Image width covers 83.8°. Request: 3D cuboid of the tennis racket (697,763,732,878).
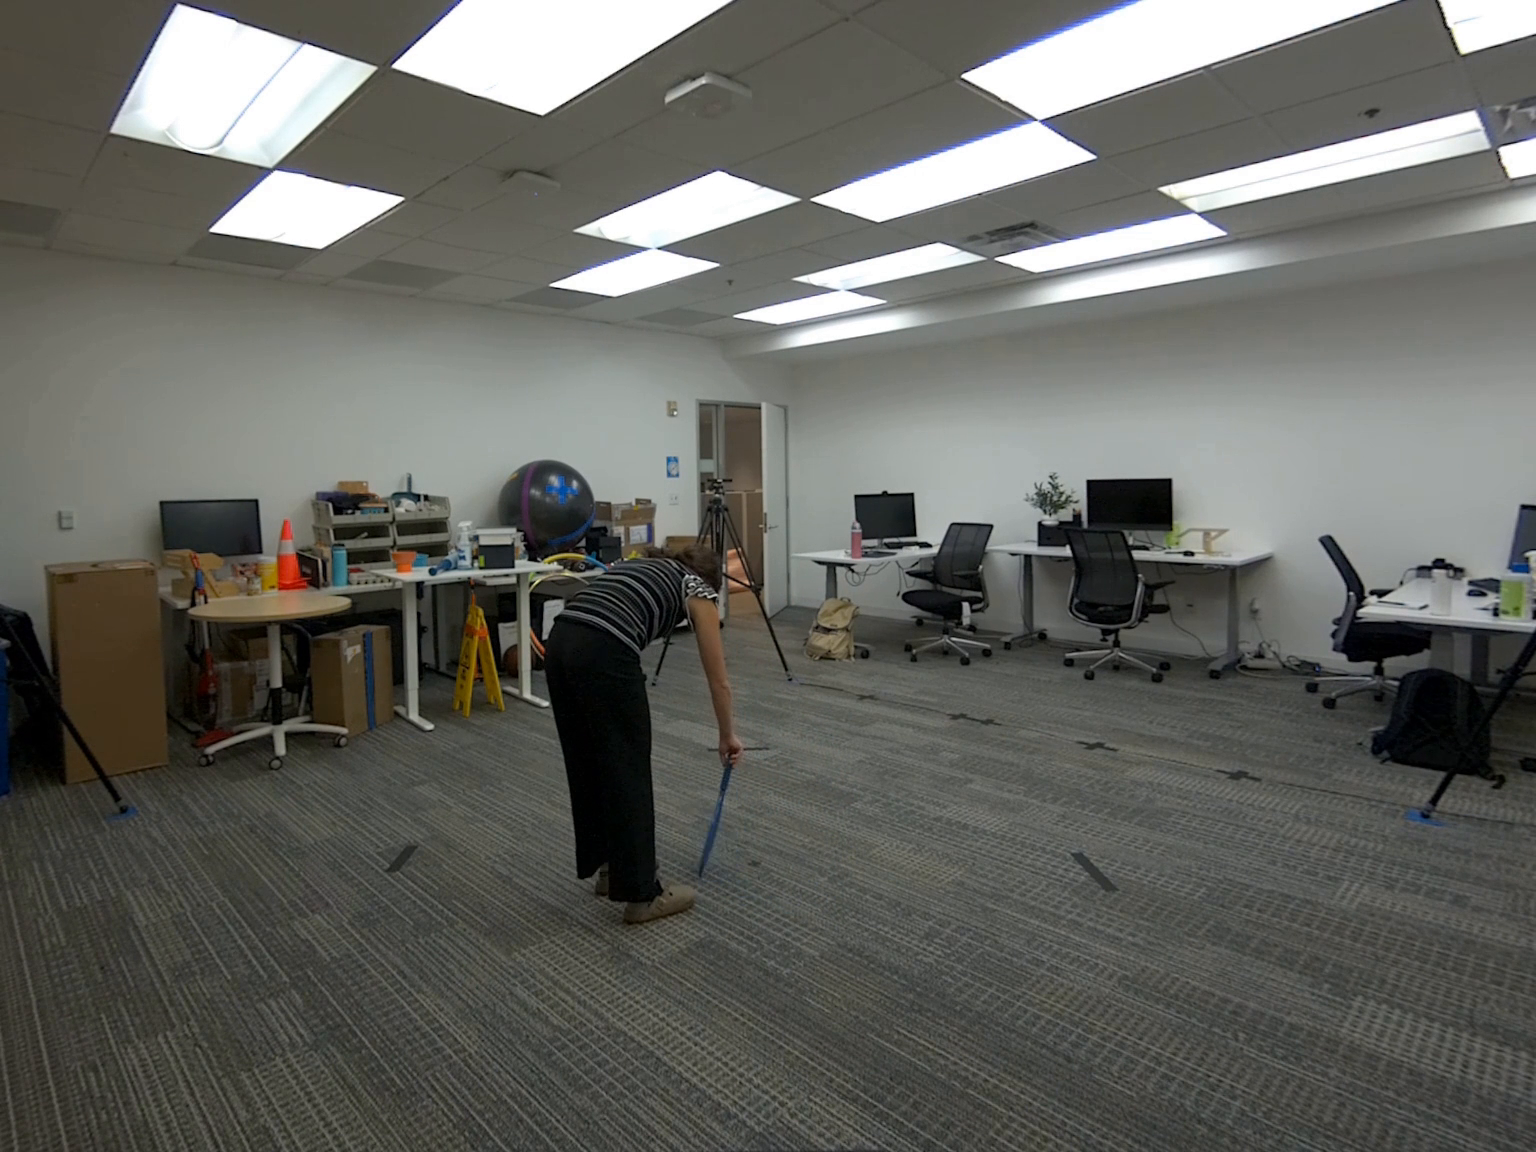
[{"bbox_3d":[-0.187,0.846,3.025,0.031,0.433,0.215,14,-1,-6],"label":"tennis racket"}]
